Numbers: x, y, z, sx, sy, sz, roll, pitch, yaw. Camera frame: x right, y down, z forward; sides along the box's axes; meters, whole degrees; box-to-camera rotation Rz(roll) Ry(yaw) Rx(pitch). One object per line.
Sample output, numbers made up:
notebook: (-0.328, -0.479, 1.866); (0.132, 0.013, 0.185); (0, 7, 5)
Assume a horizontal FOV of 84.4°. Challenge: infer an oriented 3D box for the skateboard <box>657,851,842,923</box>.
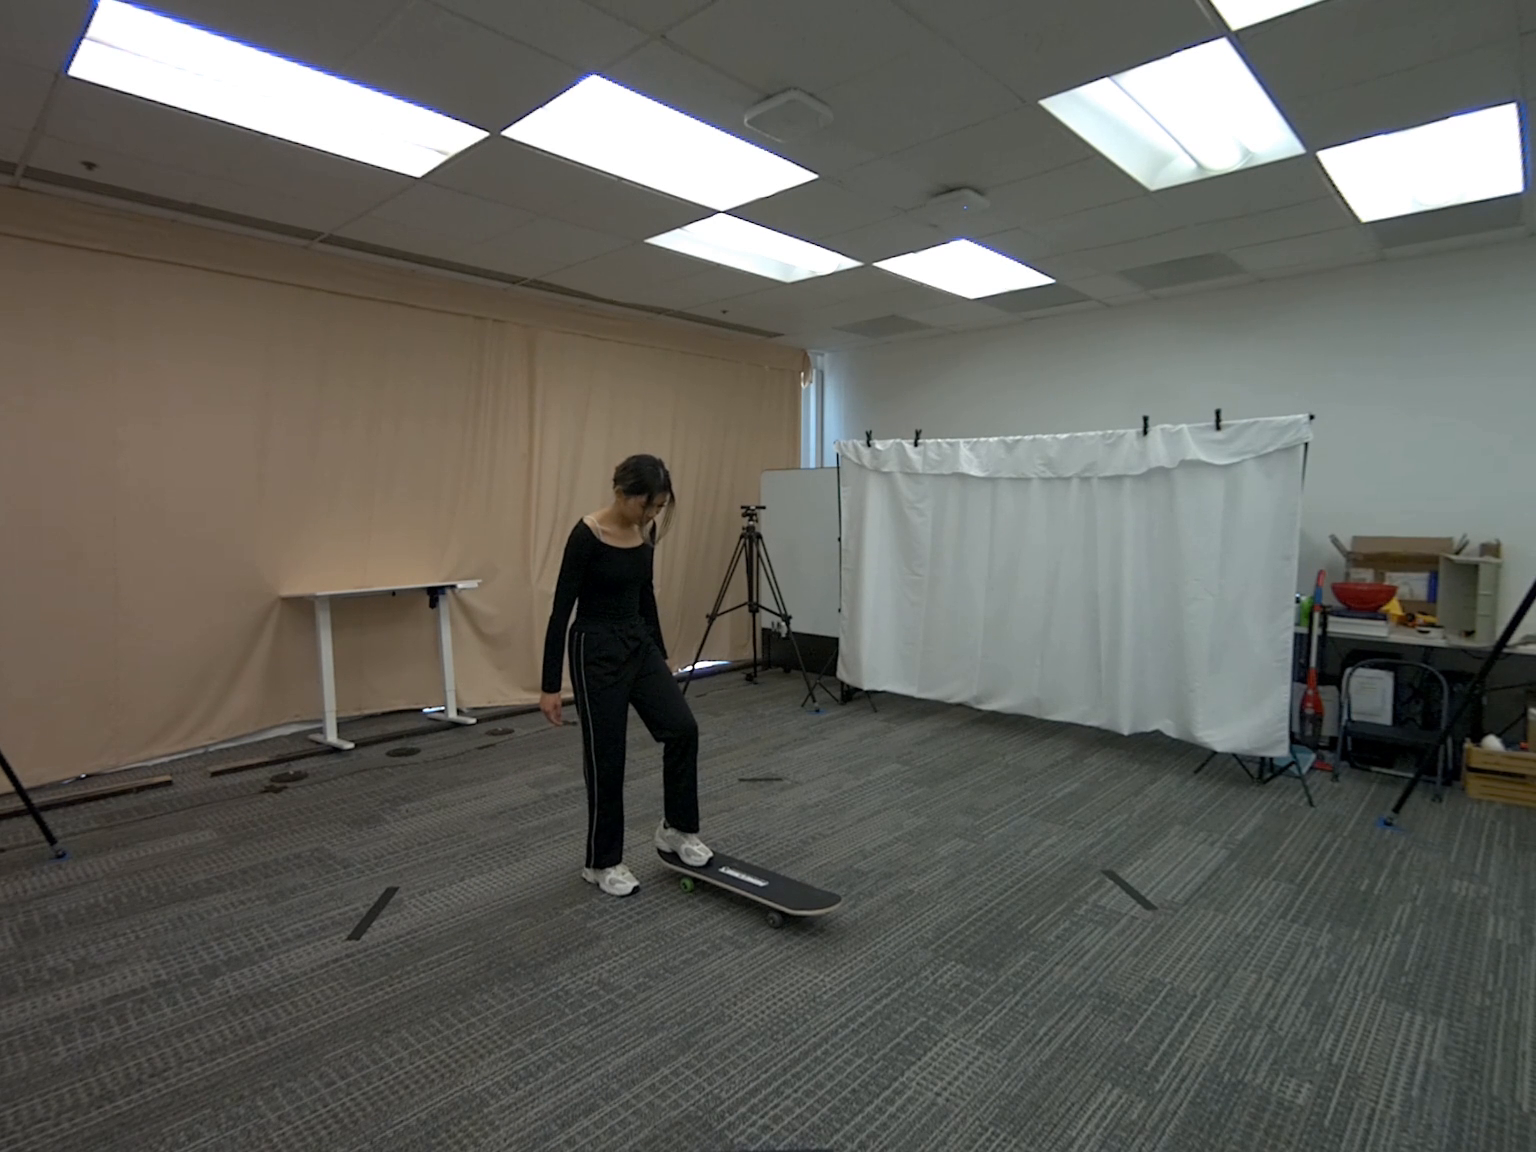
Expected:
skateboard: (-0.084, 1.090, 2.968); (0.811, 0.110, 0.188); (3, 5, 39)
